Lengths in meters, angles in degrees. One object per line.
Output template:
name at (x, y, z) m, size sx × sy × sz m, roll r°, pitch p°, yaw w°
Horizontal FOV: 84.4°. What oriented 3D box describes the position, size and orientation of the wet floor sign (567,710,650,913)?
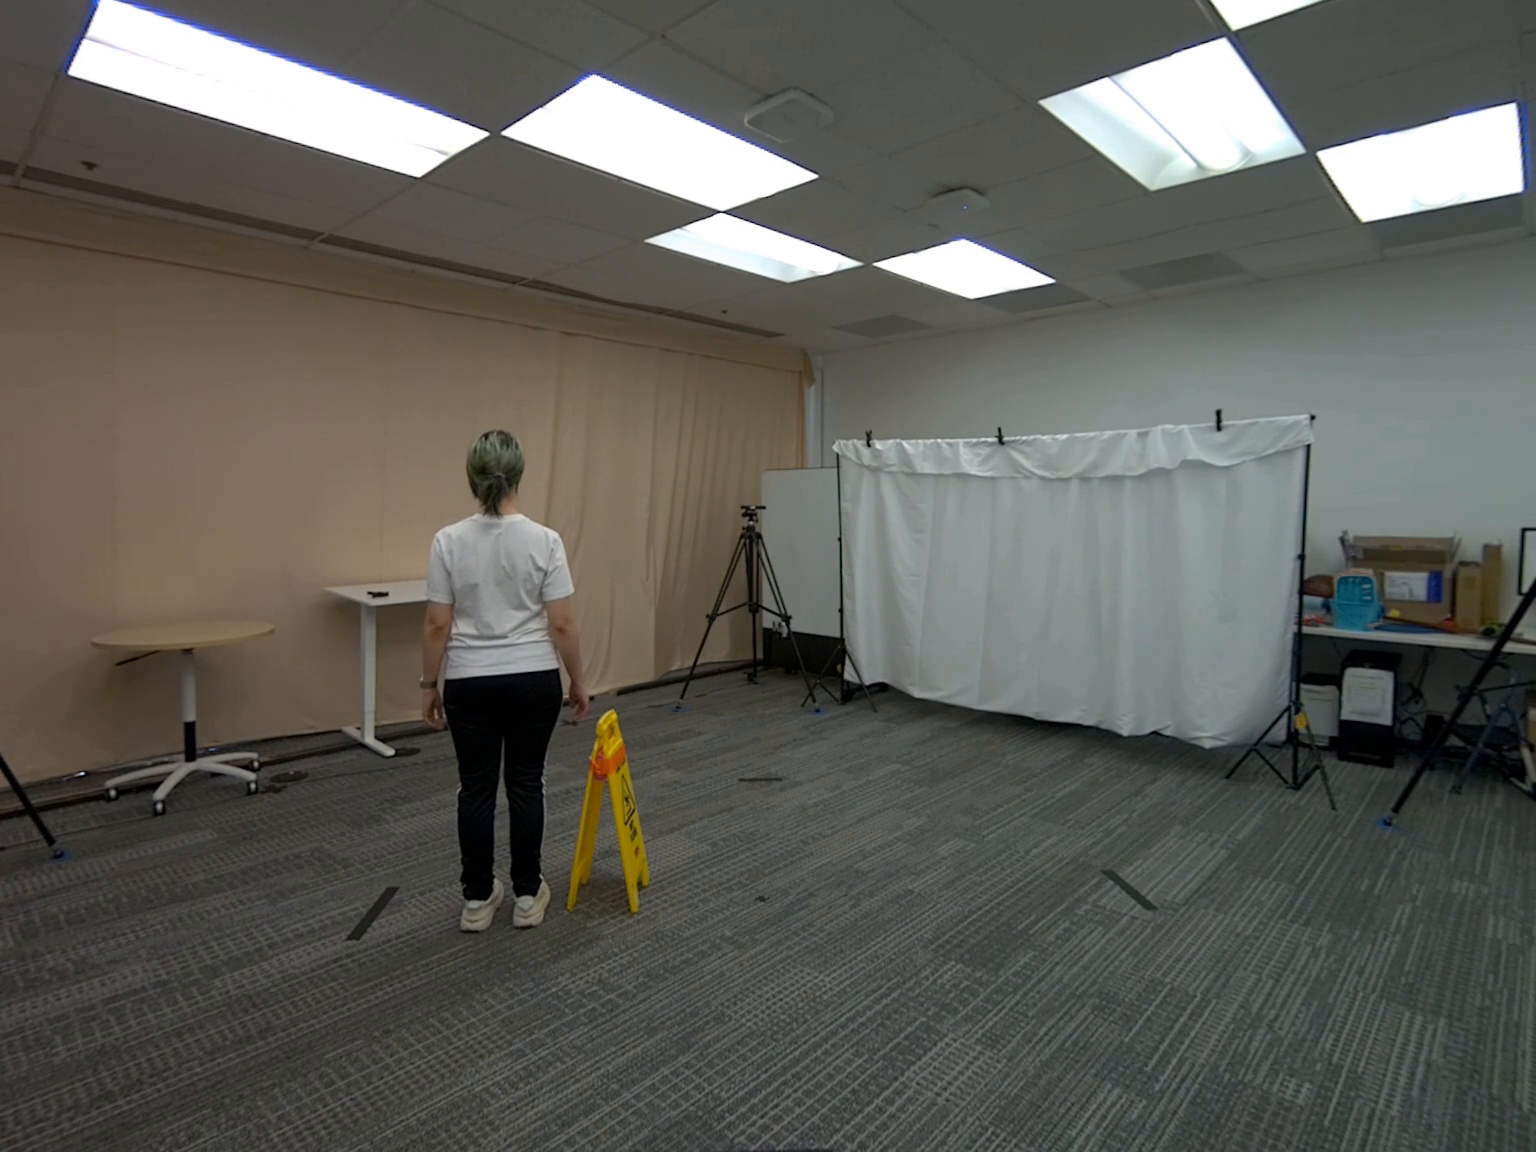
wet floor sign at (-0.569, 0.817, 3.012) m, size 0.291 × 0.644 × 0.282 m, roll 1°, pitch 5°, yaw 3°
